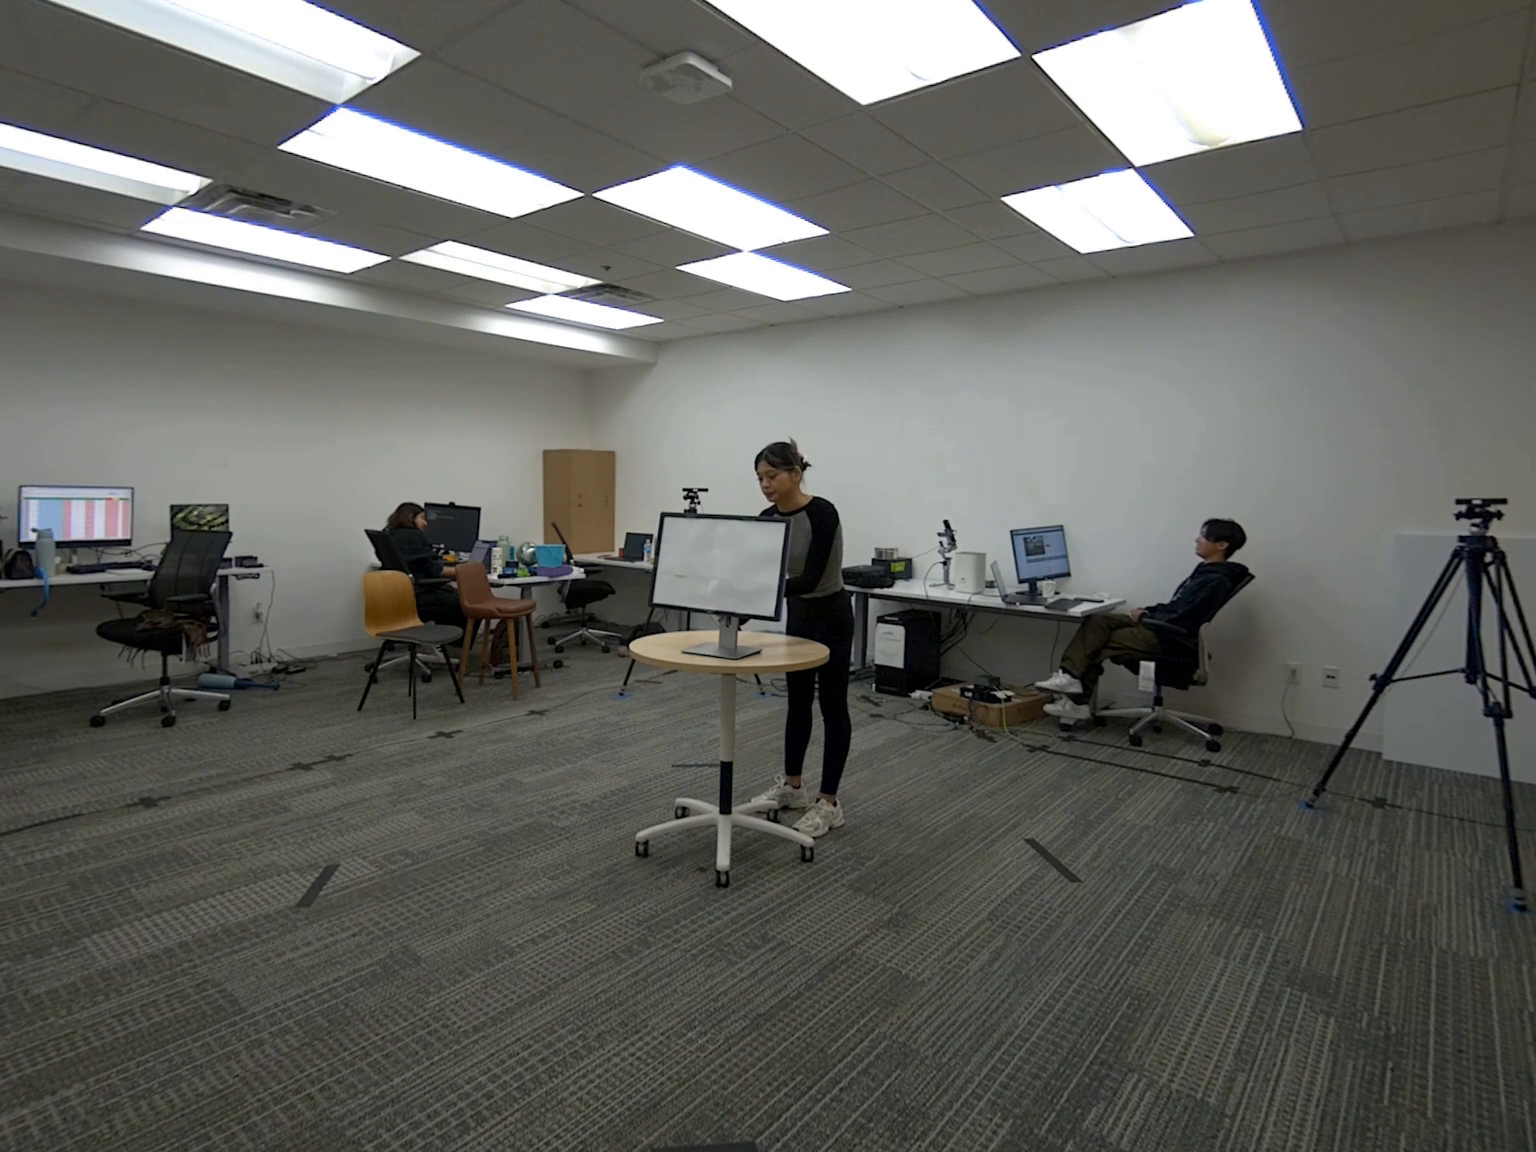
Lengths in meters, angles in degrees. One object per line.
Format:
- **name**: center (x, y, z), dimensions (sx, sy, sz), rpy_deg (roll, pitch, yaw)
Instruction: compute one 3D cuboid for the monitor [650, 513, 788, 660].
- **monitor**: center (-0.177, 0.033, 3.119), dimensions (0.546, 0.511, 0.171), rpy_deg (5, 12, 31)
